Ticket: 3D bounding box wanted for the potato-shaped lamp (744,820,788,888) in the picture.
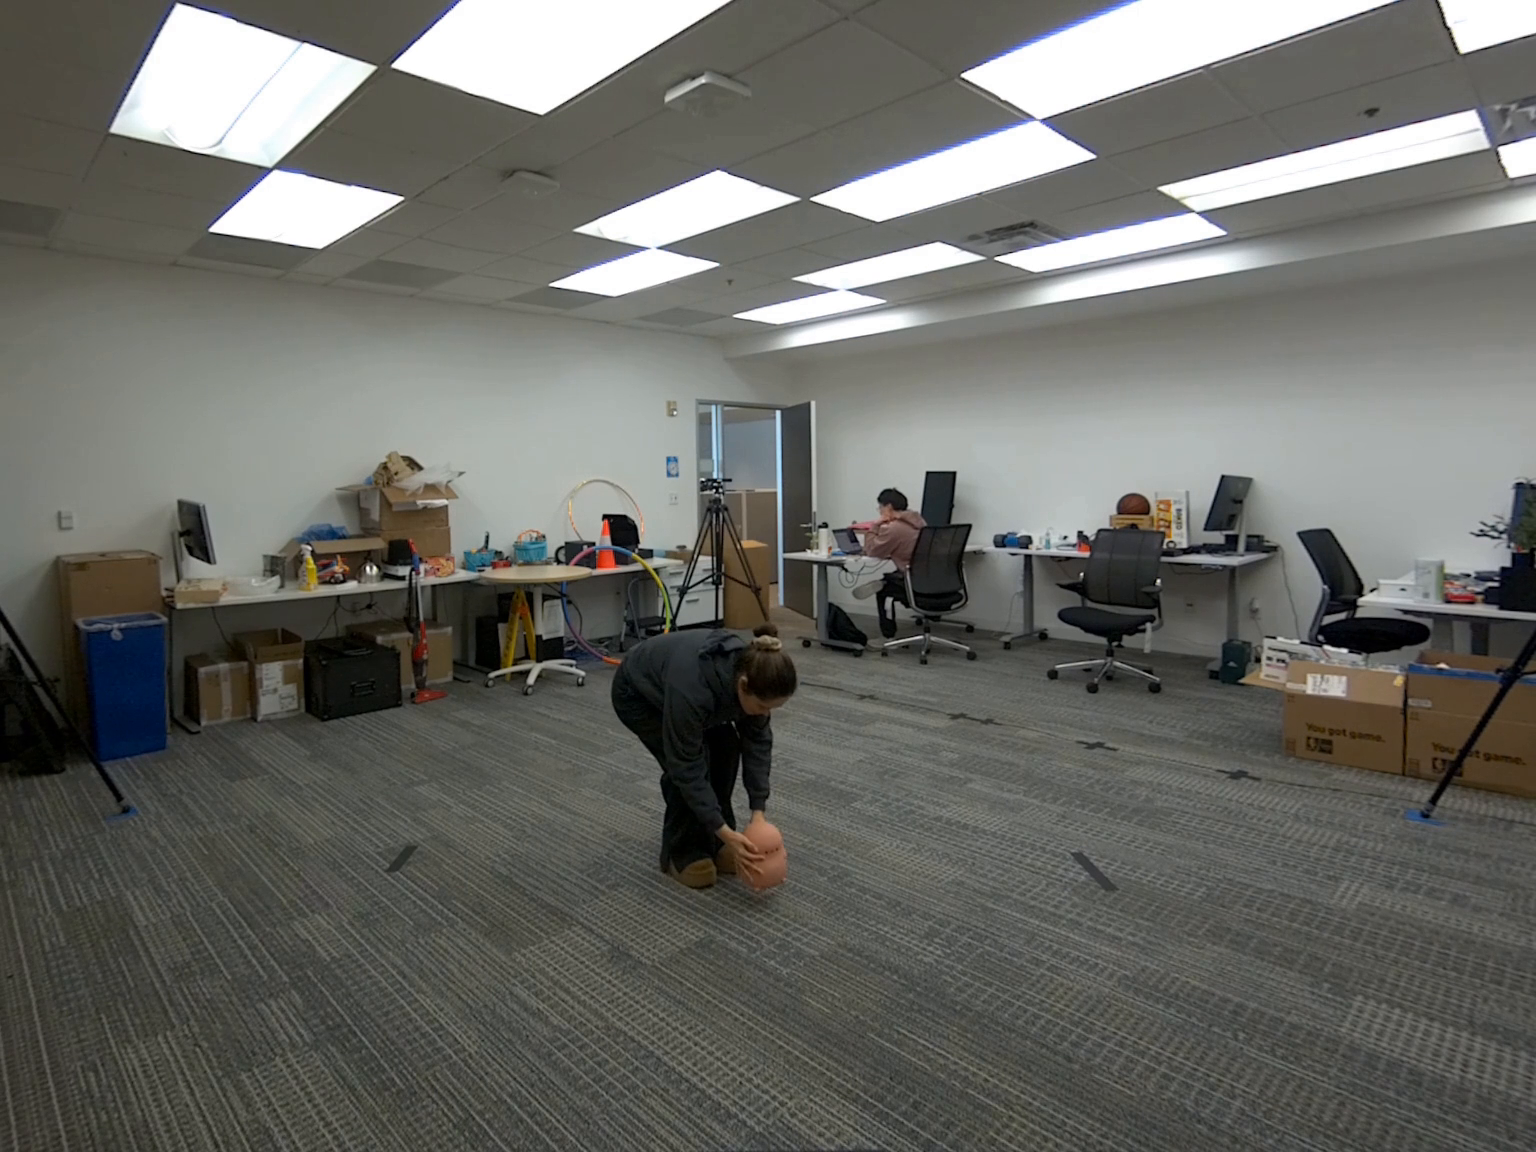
[{"bbox_3d":[-0.030,0.880,2.820,0.164,0.176,0.194,-13,-23,-8],"label":"potato-shaped lamp"}]
